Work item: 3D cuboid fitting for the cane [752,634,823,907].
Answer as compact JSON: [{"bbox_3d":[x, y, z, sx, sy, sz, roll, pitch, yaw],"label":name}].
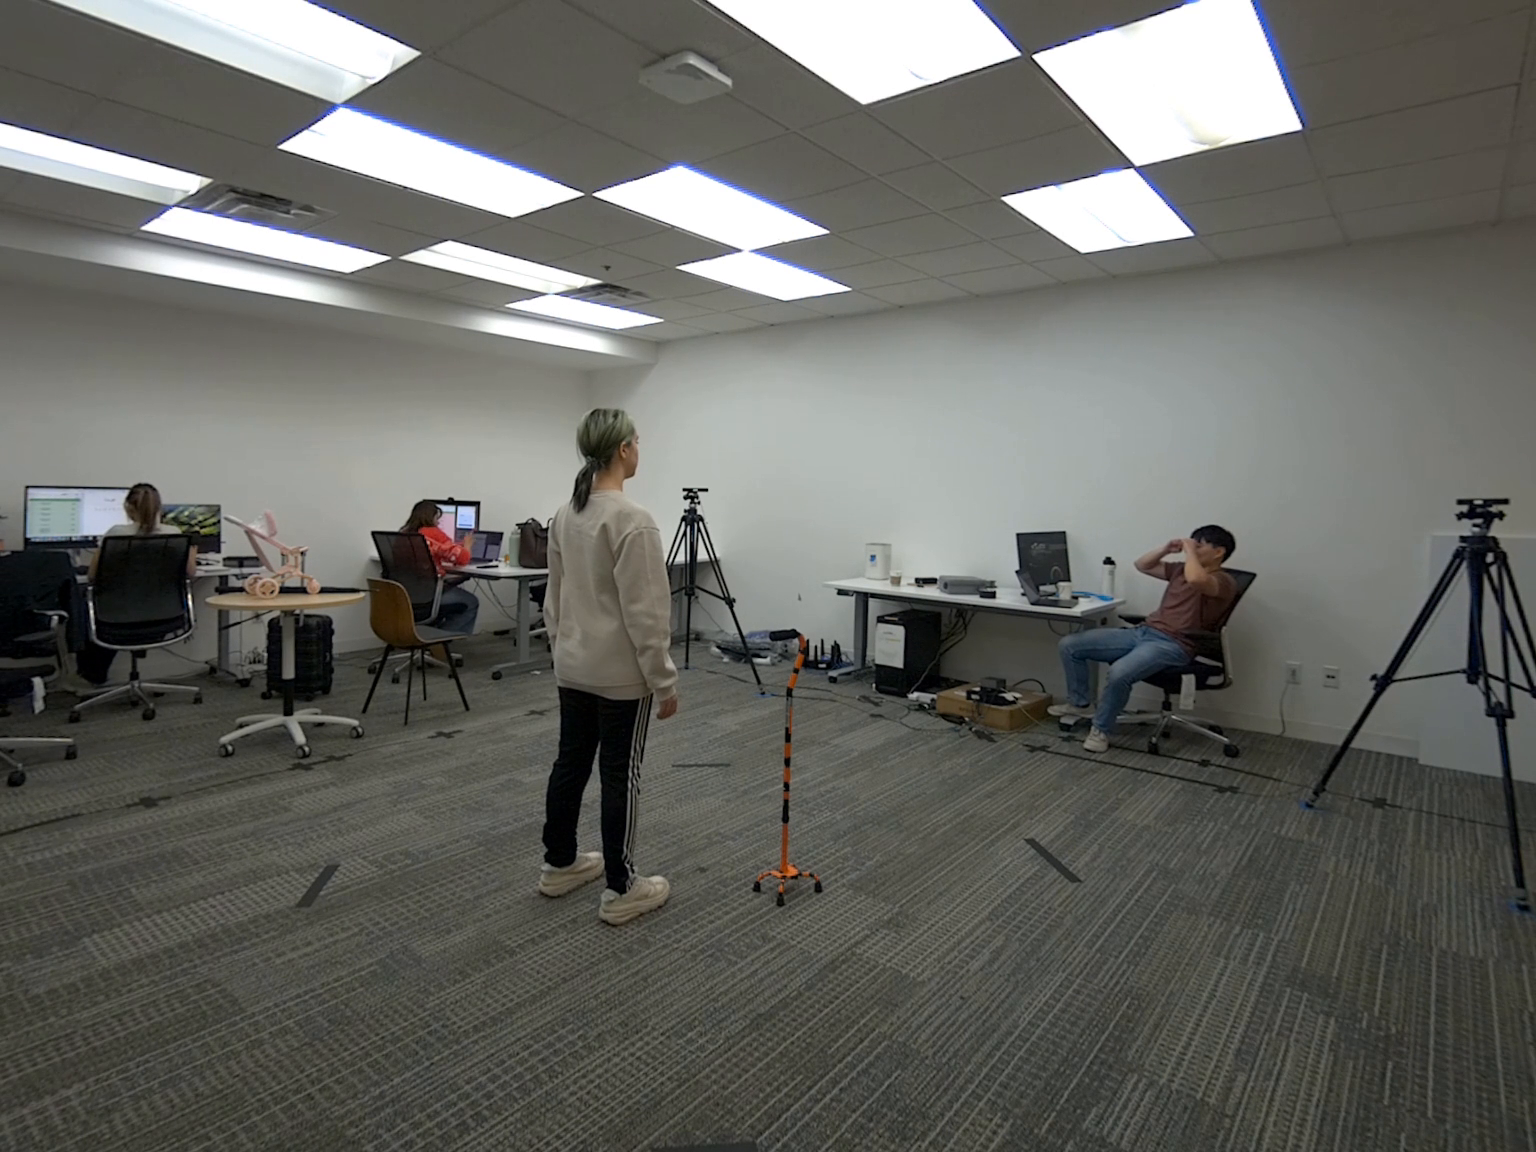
[{"bbox_3d":[0.073,0.638,2.934,0.200,0.906,0.157,-1,3,-39],"label":"cane"}]
